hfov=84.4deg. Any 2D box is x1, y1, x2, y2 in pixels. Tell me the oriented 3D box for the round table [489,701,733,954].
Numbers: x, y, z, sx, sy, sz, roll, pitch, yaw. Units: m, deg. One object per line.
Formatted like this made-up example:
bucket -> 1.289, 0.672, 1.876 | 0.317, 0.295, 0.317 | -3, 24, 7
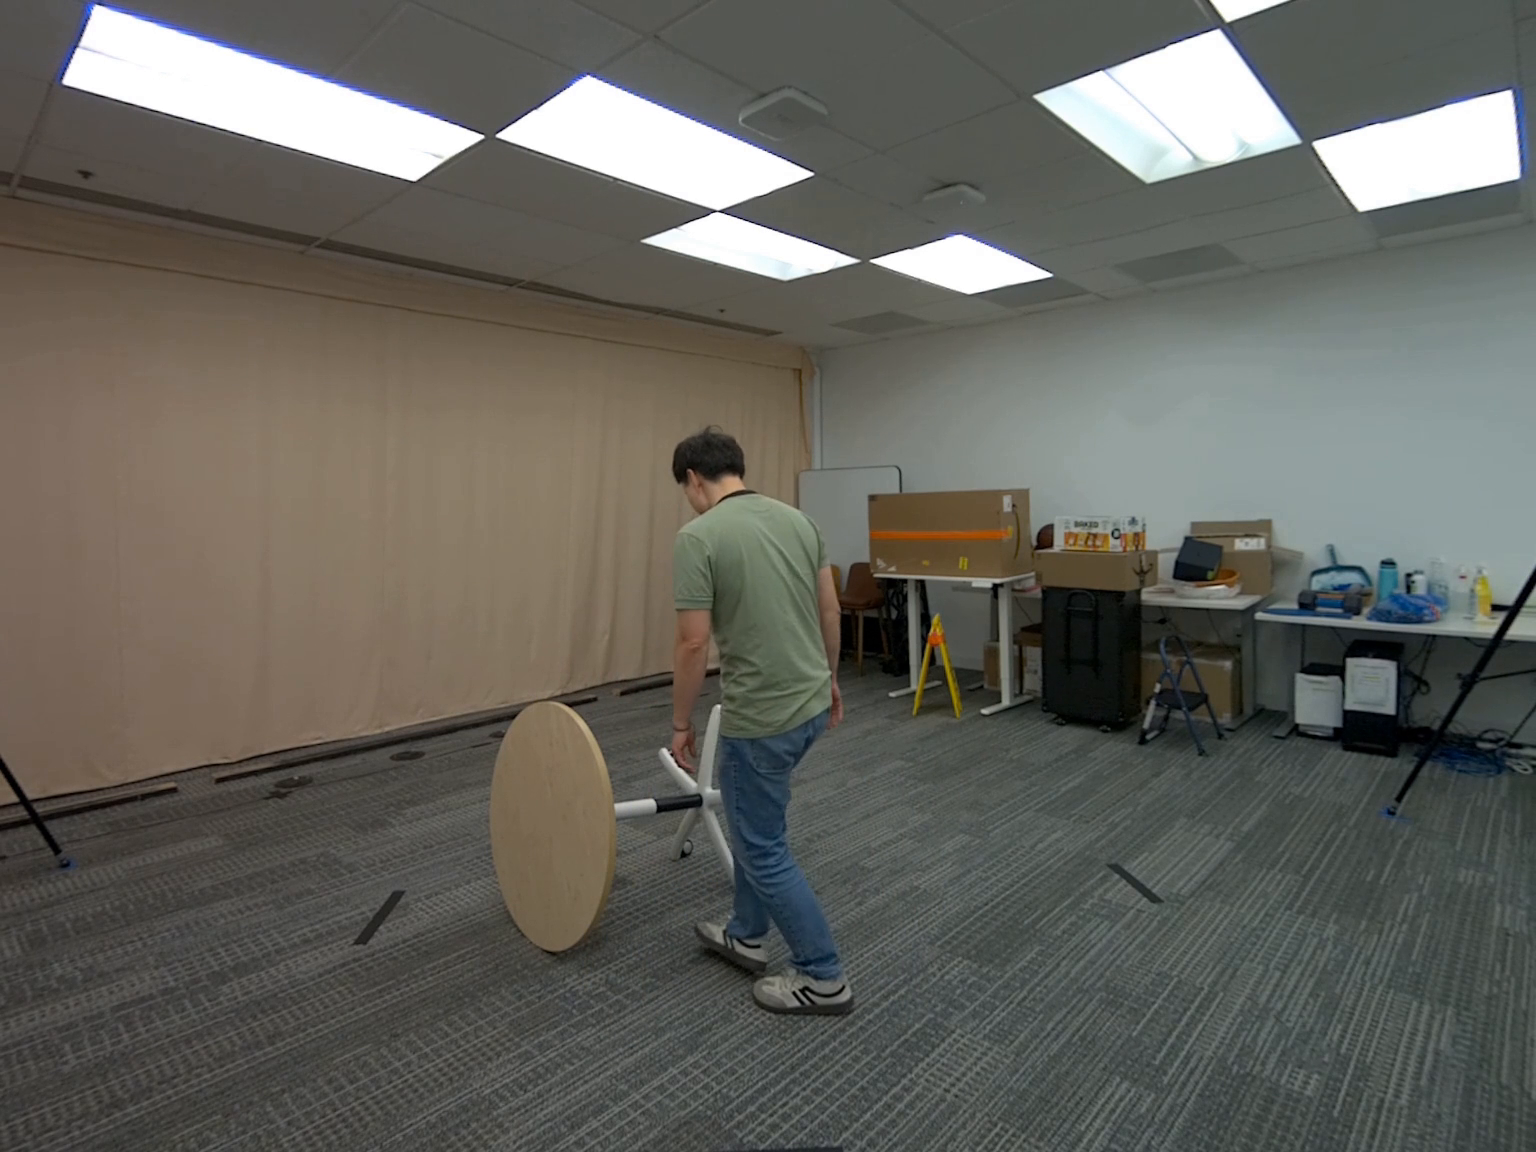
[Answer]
round table -> -0.436, 0.819, 2.971 | 0.767, 0.764, 0.789 | 6, -1, -42
